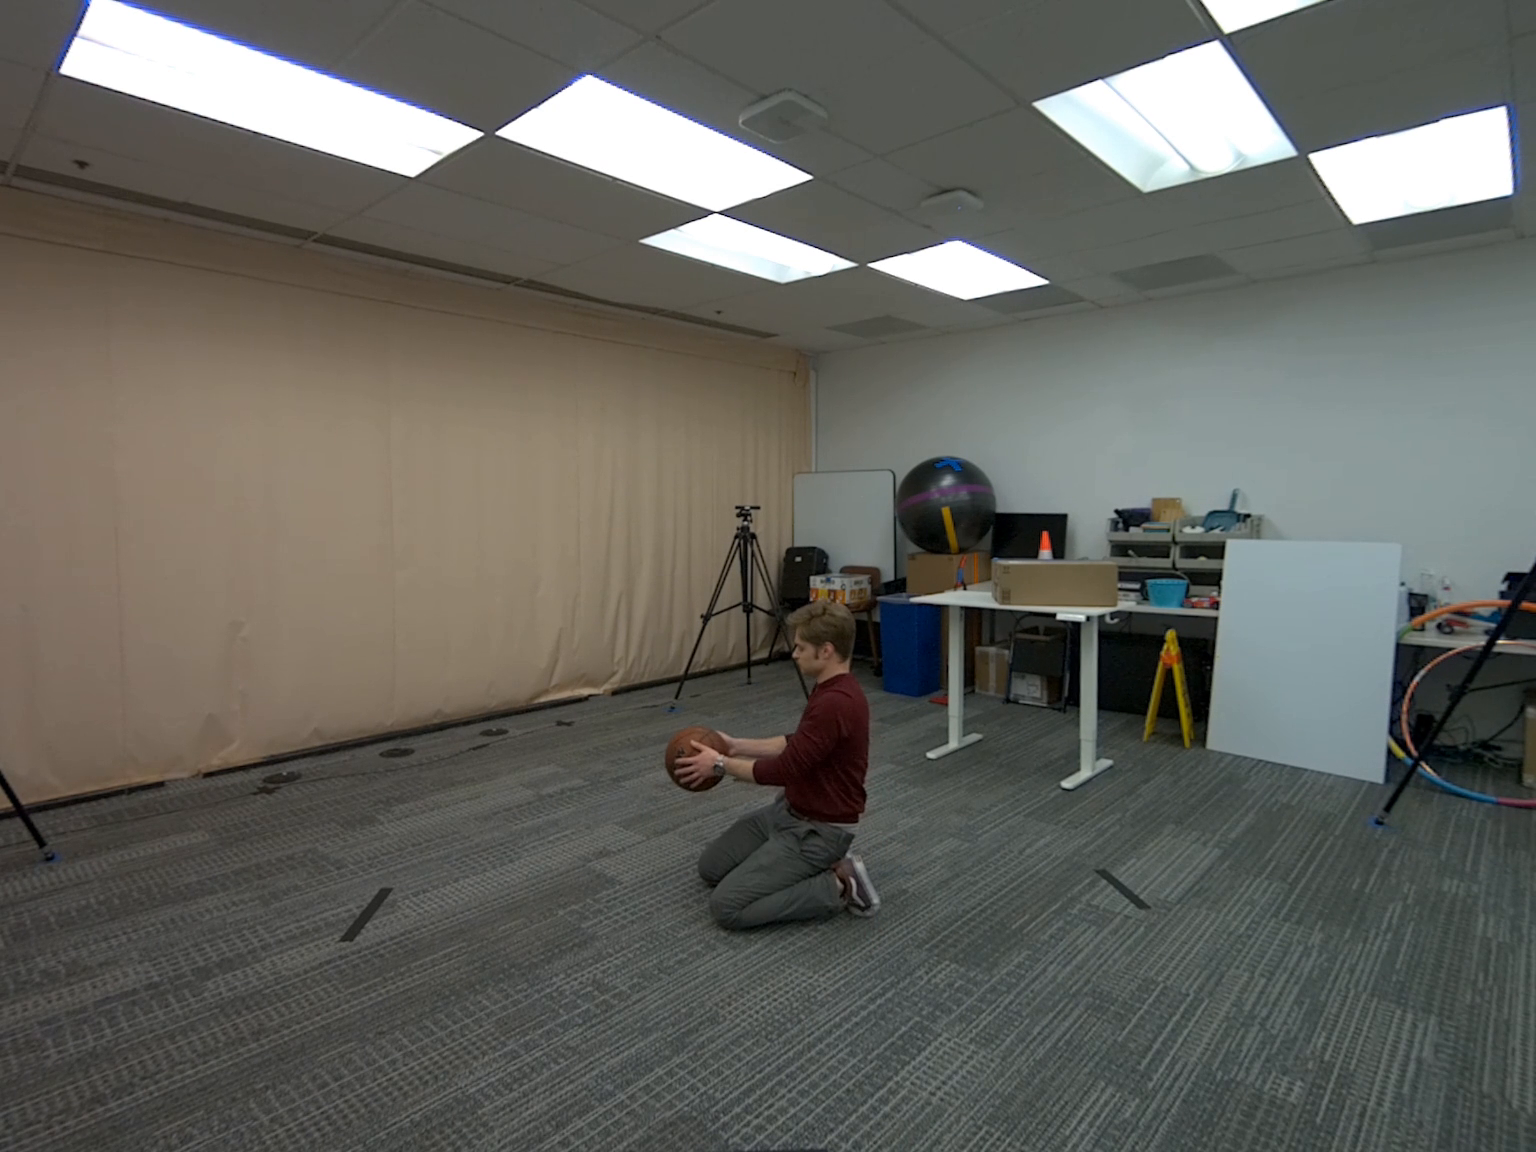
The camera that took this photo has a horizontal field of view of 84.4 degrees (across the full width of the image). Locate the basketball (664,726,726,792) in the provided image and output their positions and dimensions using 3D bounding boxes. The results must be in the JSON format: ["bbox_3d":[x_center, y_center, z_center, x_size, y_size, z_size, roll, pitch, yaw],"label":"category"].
[{"bbox_3d":[-0.252,0.686,3.110,0.236,0.235,0.237,0,4,-2],"label":"basketball"}]
